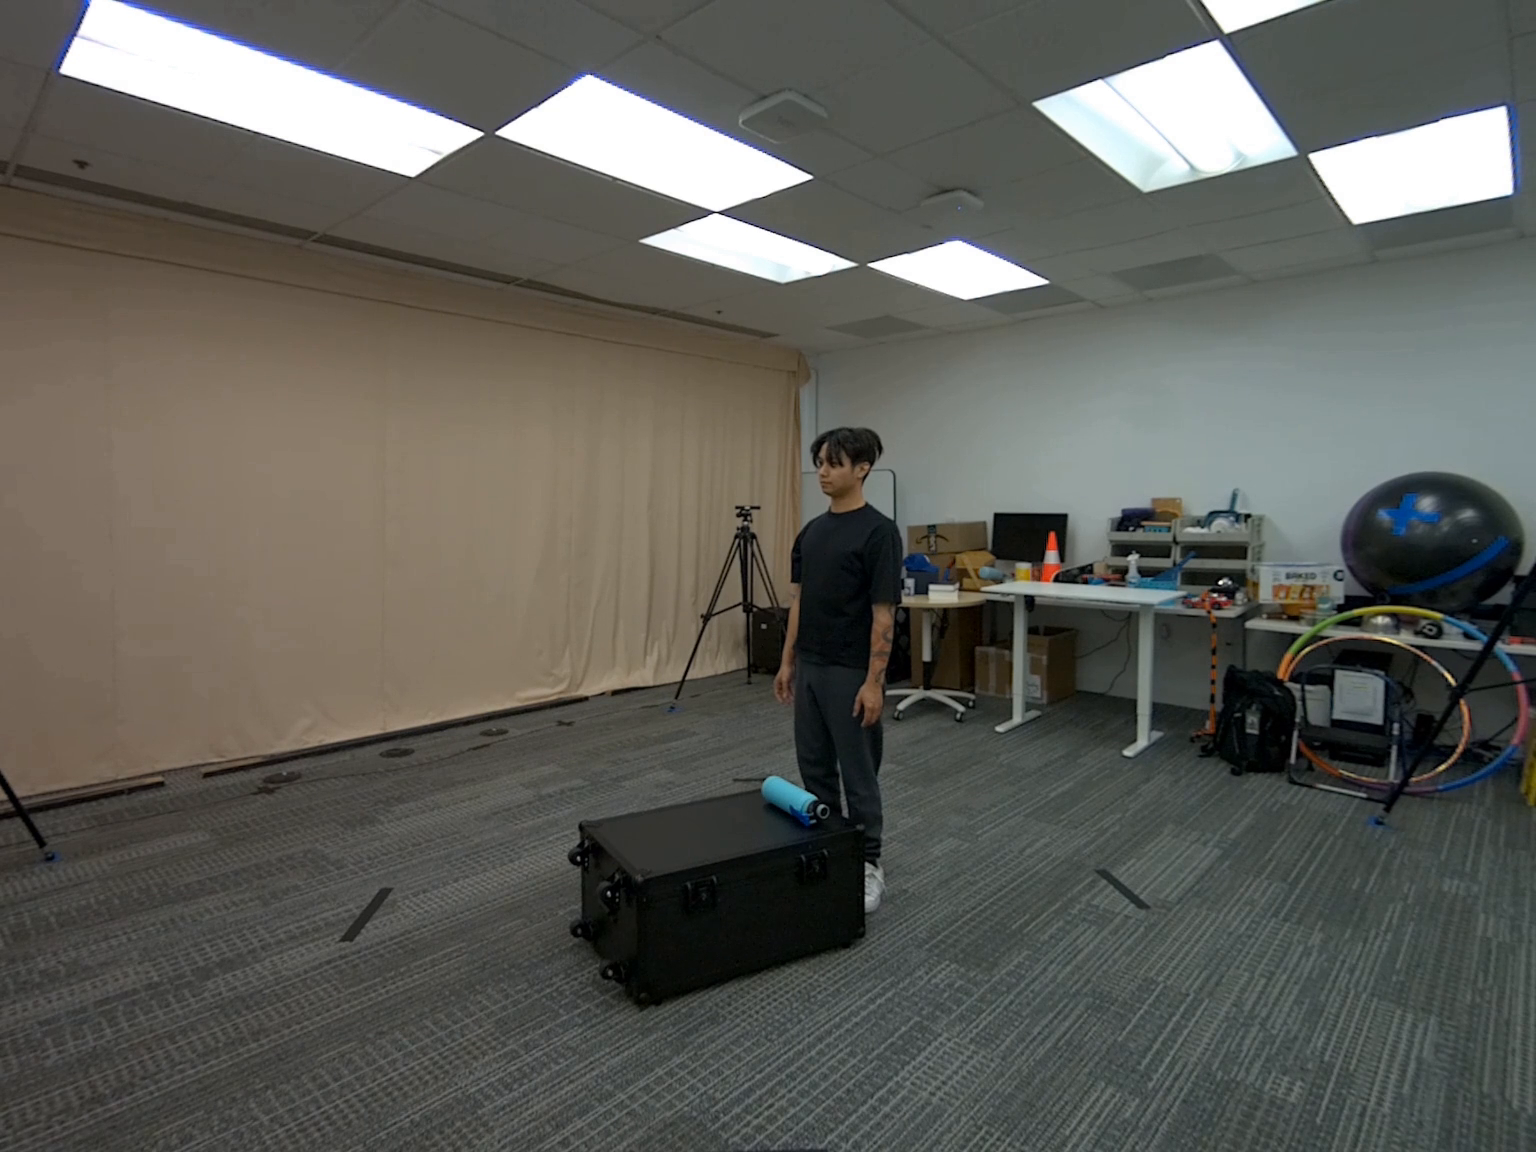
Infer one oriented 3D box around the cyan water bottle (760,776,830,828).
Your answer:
[{"bbox_3d":[0.090,0.739,2.773,0.090,0.092,0.292,-2,6,-30],"label":"cyan water bottle"}]
